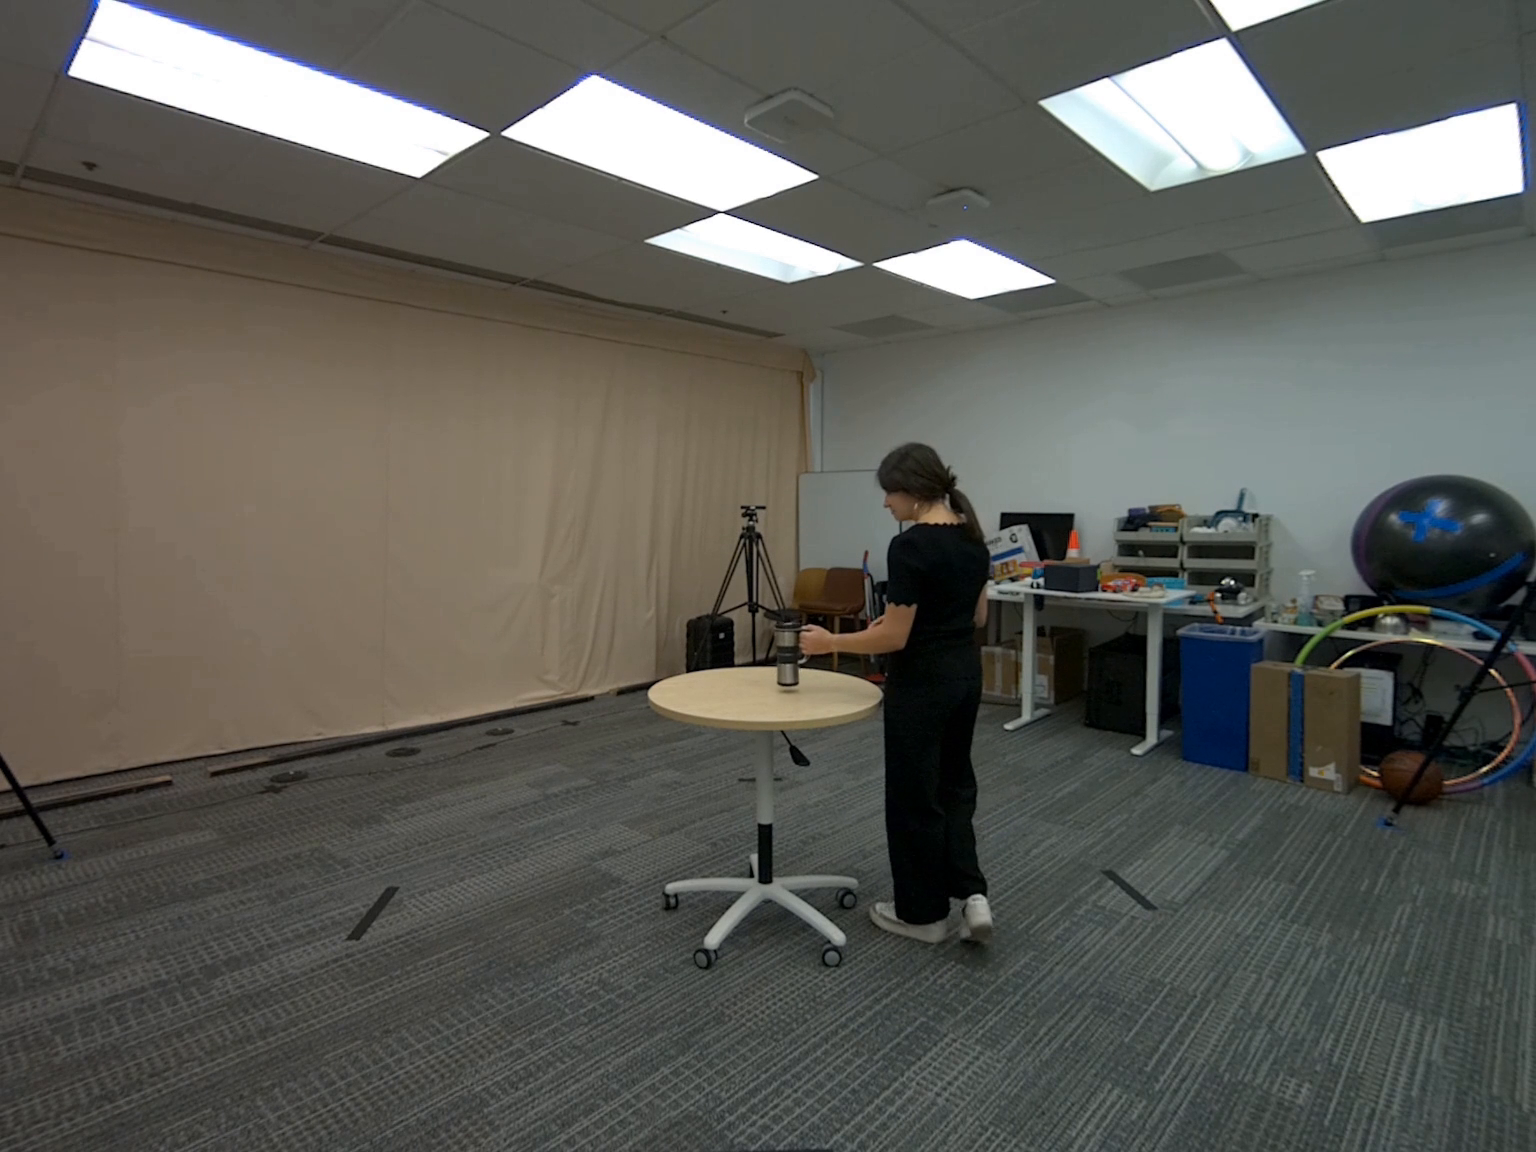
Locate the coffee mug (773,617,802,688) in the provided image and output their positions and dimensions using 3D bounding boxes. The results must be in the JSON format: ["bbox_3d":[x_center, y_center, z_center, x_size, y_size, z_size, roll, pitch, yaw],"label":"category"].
[{"bbox_3d":[0.091,0.261,2.731,0.085,0.203,0.126,3,0,-43],"label":"coffee mug"}]
